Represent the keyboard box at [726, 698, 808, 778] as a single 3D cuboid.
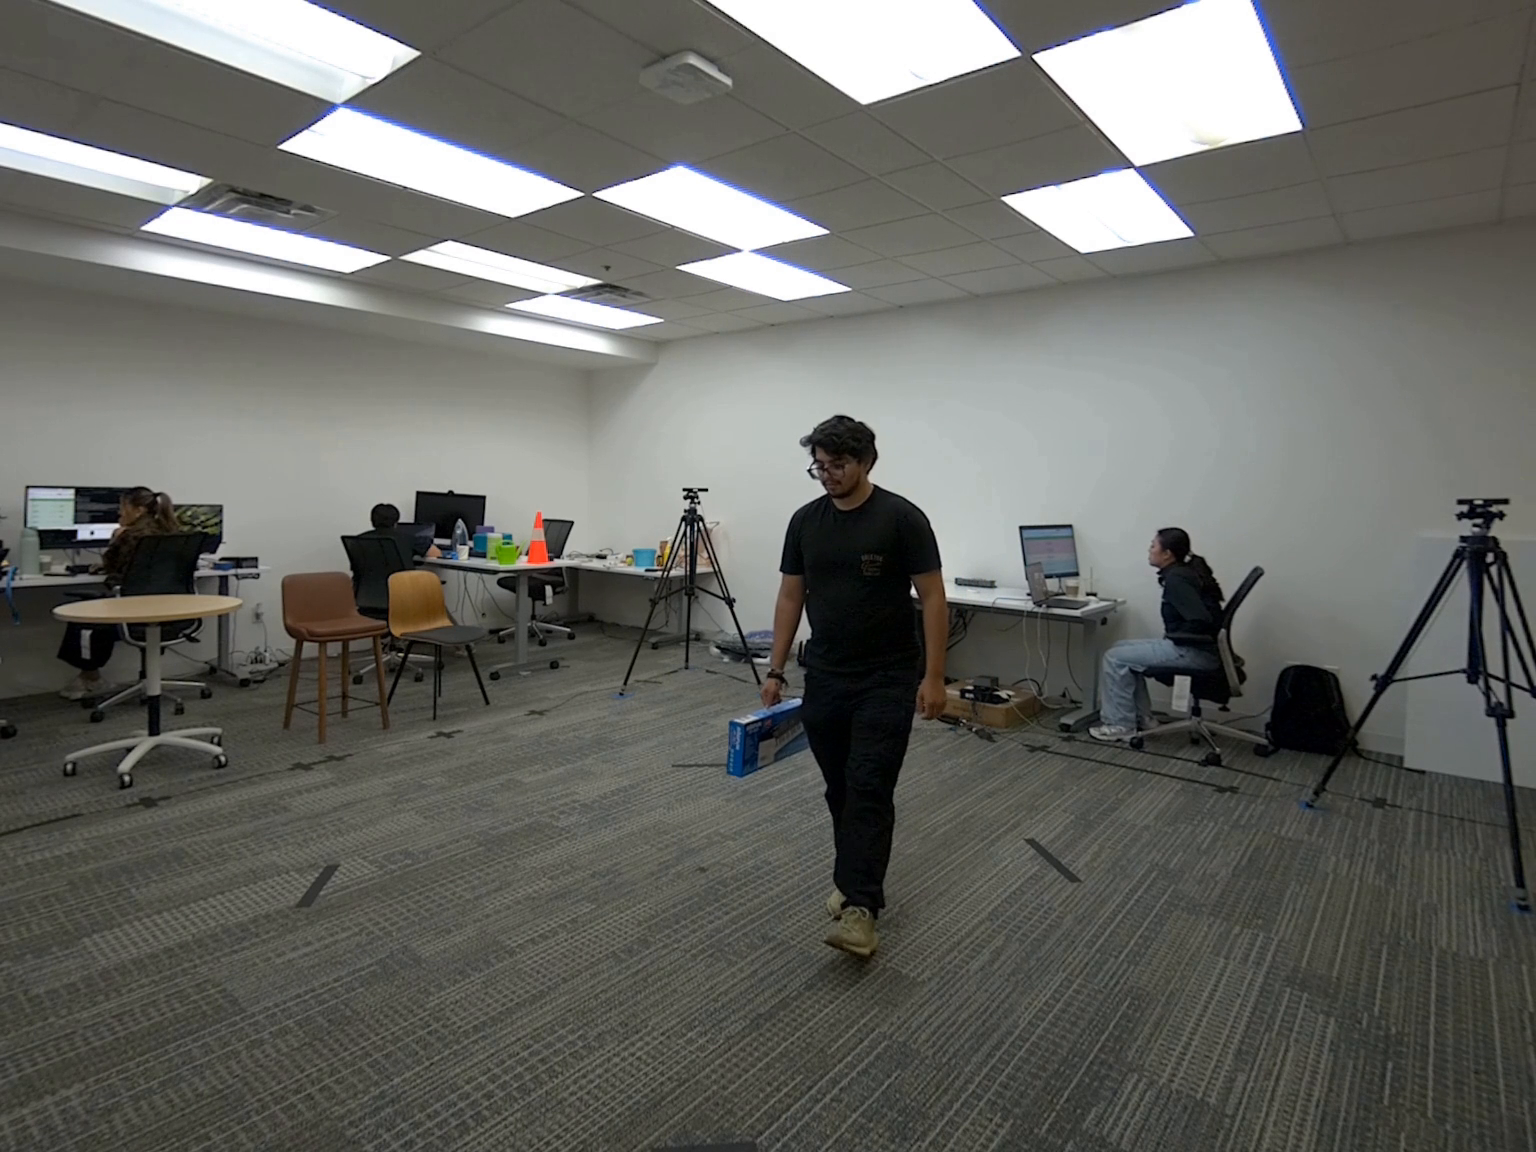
[{"bbox_3d":[0.005,0.533,2.856,0.061,0.175,0.424,5,5,33],"label":"keyboard box"}]
